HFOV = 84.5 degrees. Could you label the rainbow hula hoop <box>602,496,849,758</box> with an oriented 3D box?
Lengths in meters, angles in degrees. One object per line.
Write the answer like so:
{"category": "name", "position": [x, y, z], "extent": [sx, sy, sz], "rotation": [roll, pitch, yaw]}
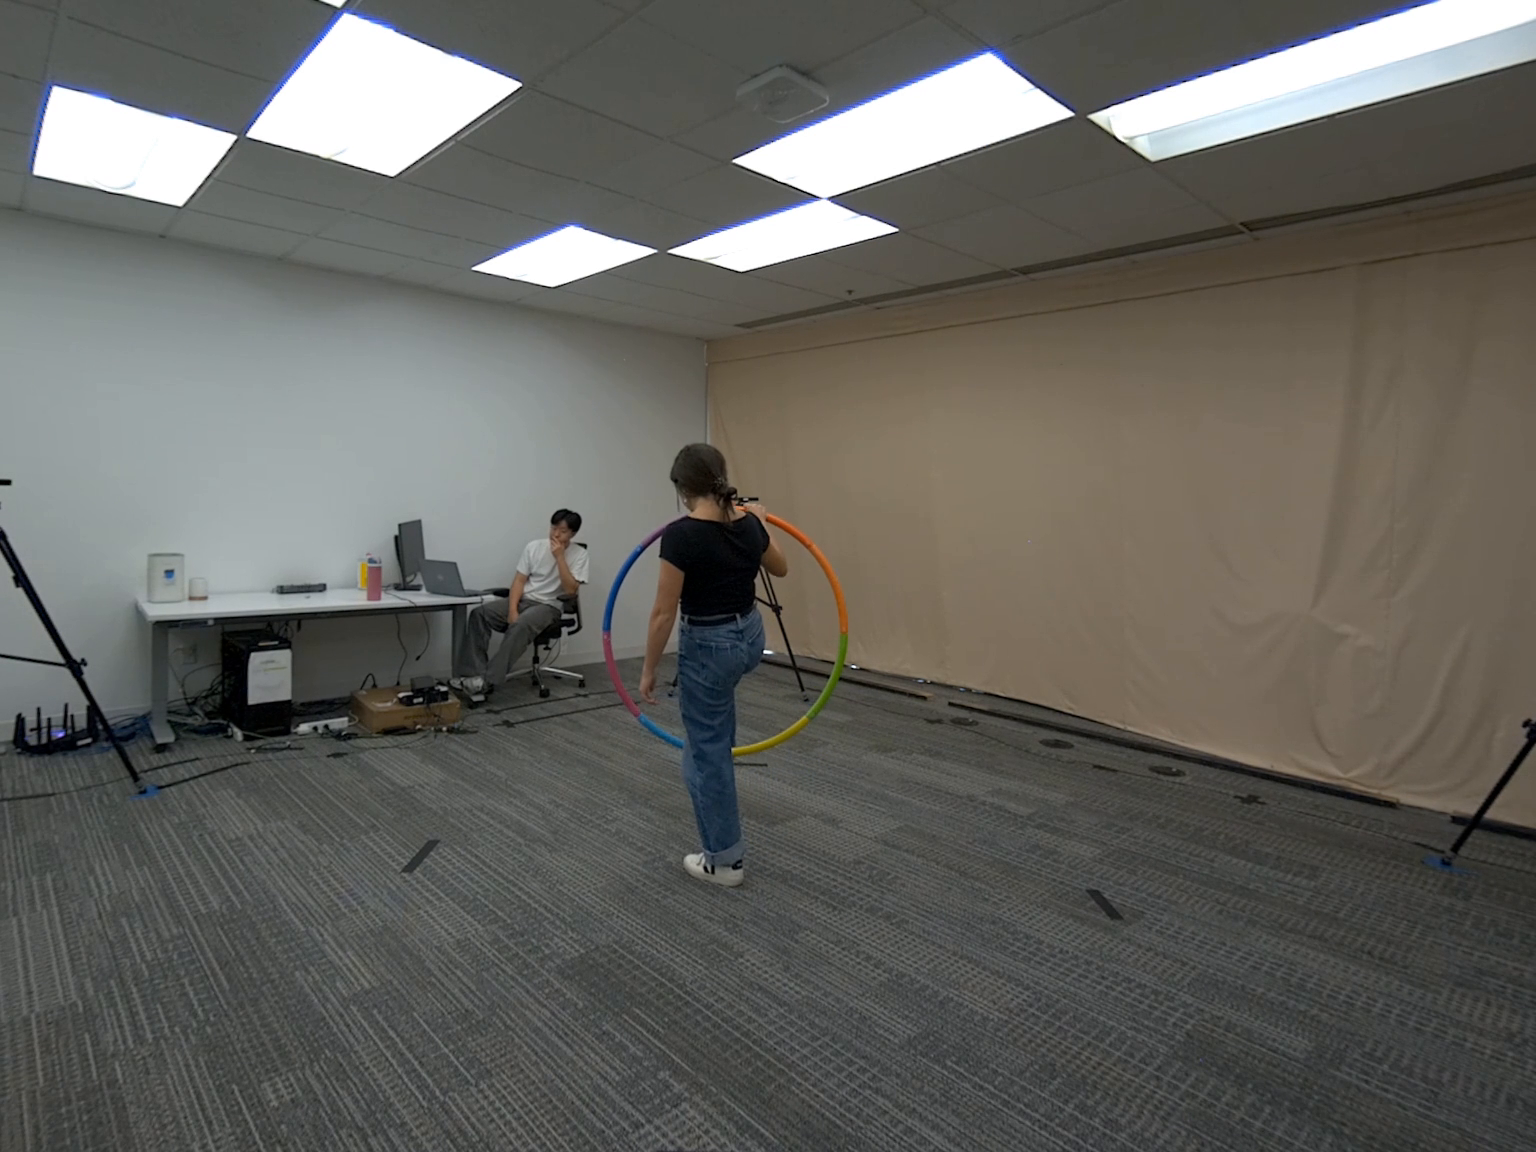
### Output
{"category": "rainbow hula hoop", "position": [-0.178, 0.215, 3.349], "extent": [0.980, 0.979, 0.035], "rotation": [1, -1, 2]}
